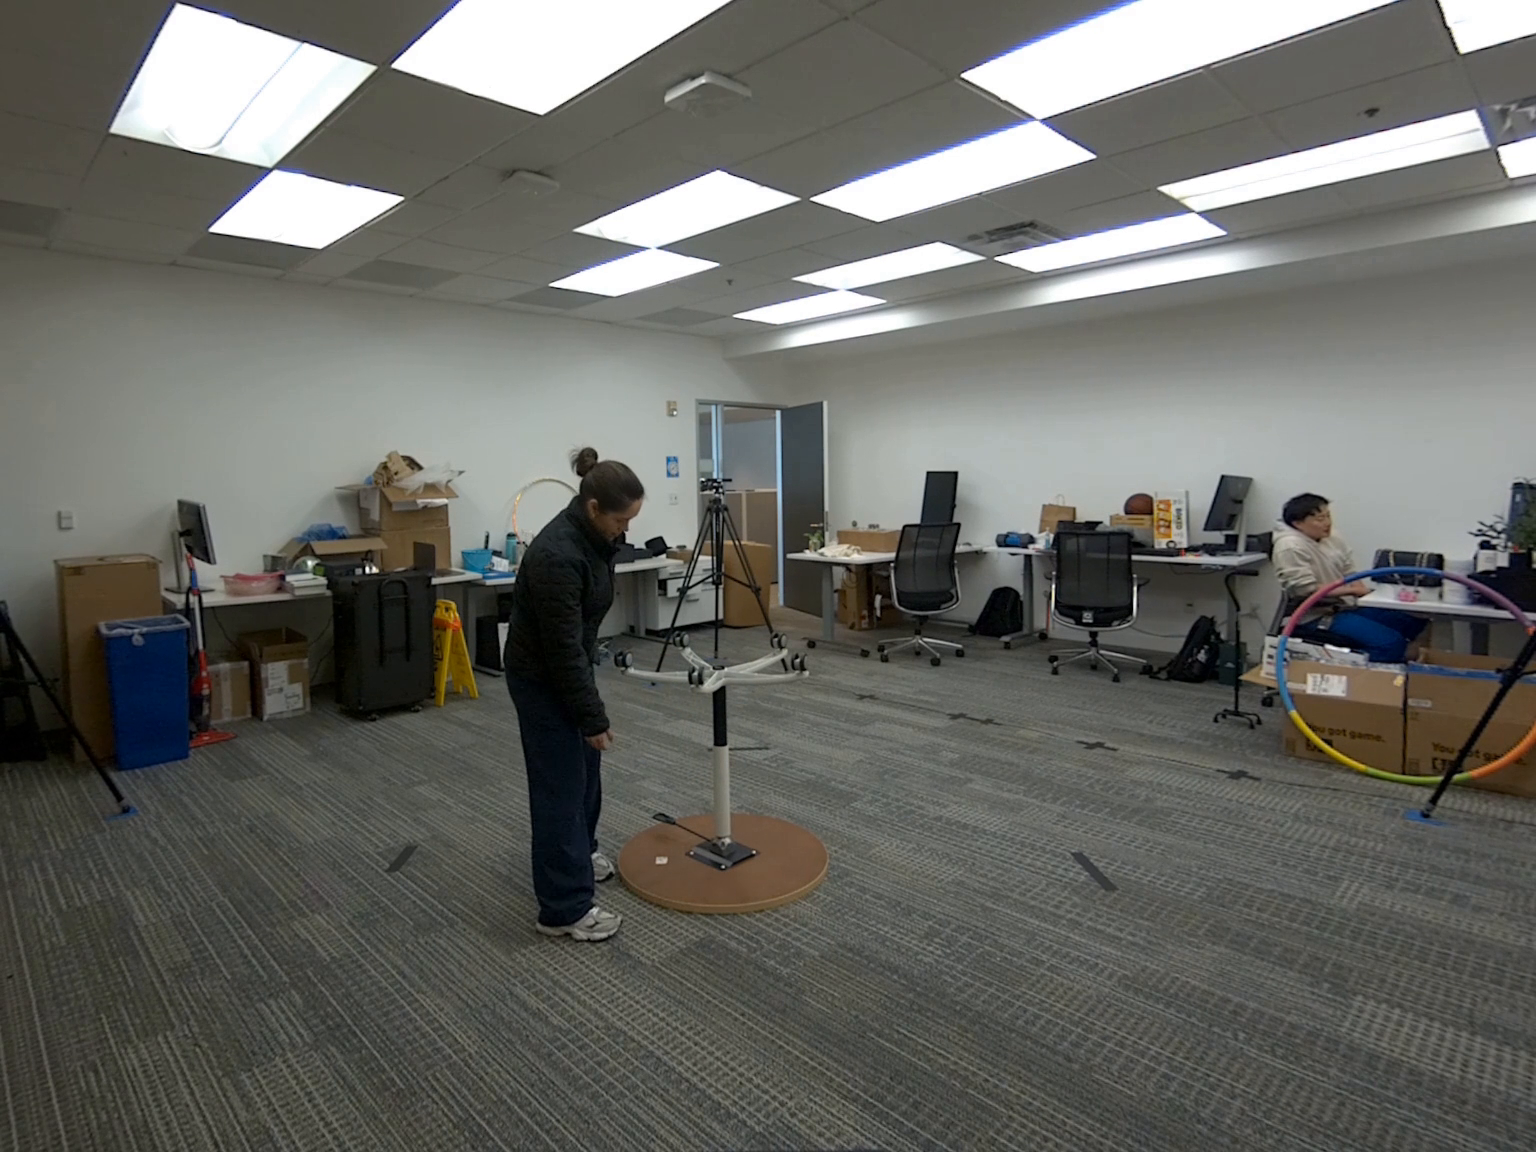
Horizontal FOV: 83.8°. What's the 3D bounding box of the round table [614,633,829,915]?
[{"bbox_3d":[-0.171,0.642,3.128,0.784,0.783,0.789,0,5,-2],"label":"round table"}]
